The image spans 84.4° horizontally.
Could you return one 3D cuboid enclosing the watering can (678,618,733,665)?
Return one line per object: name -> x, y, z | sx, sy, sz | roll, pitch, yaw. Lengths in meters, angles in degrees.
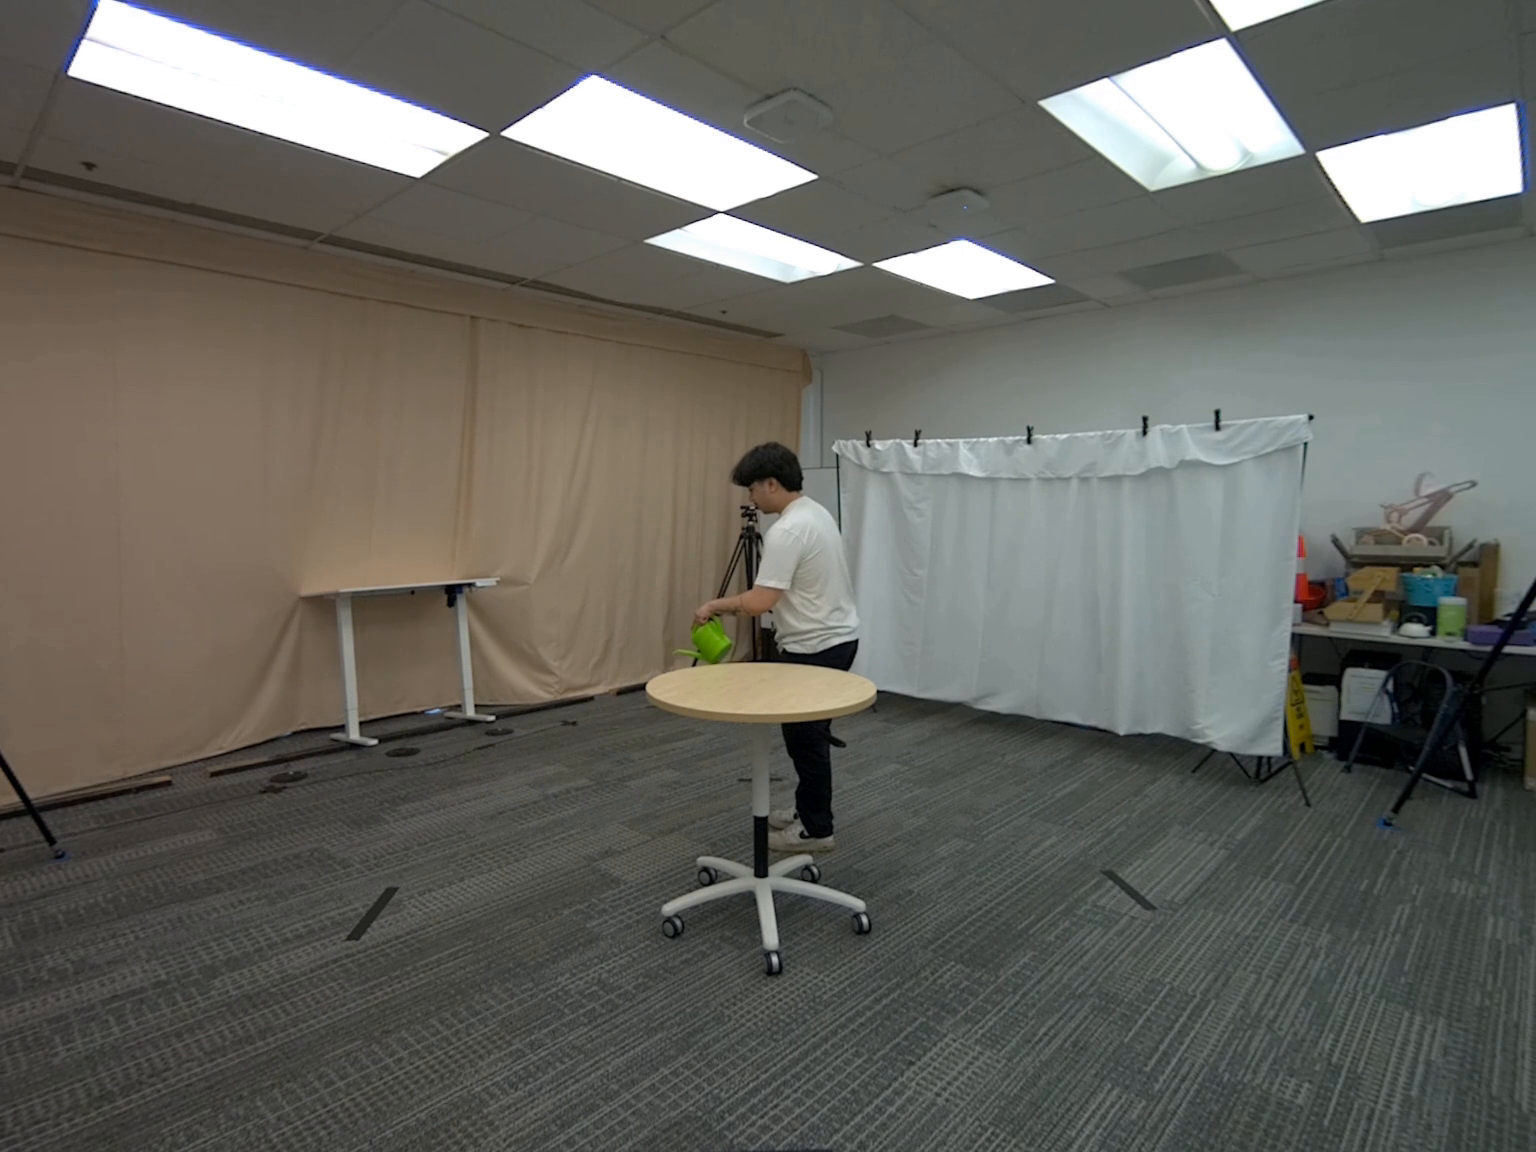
watering can -> -0.256, 0.285, 3.445 | 0.096, 0.180, 0.279 | -21, -25, -50
